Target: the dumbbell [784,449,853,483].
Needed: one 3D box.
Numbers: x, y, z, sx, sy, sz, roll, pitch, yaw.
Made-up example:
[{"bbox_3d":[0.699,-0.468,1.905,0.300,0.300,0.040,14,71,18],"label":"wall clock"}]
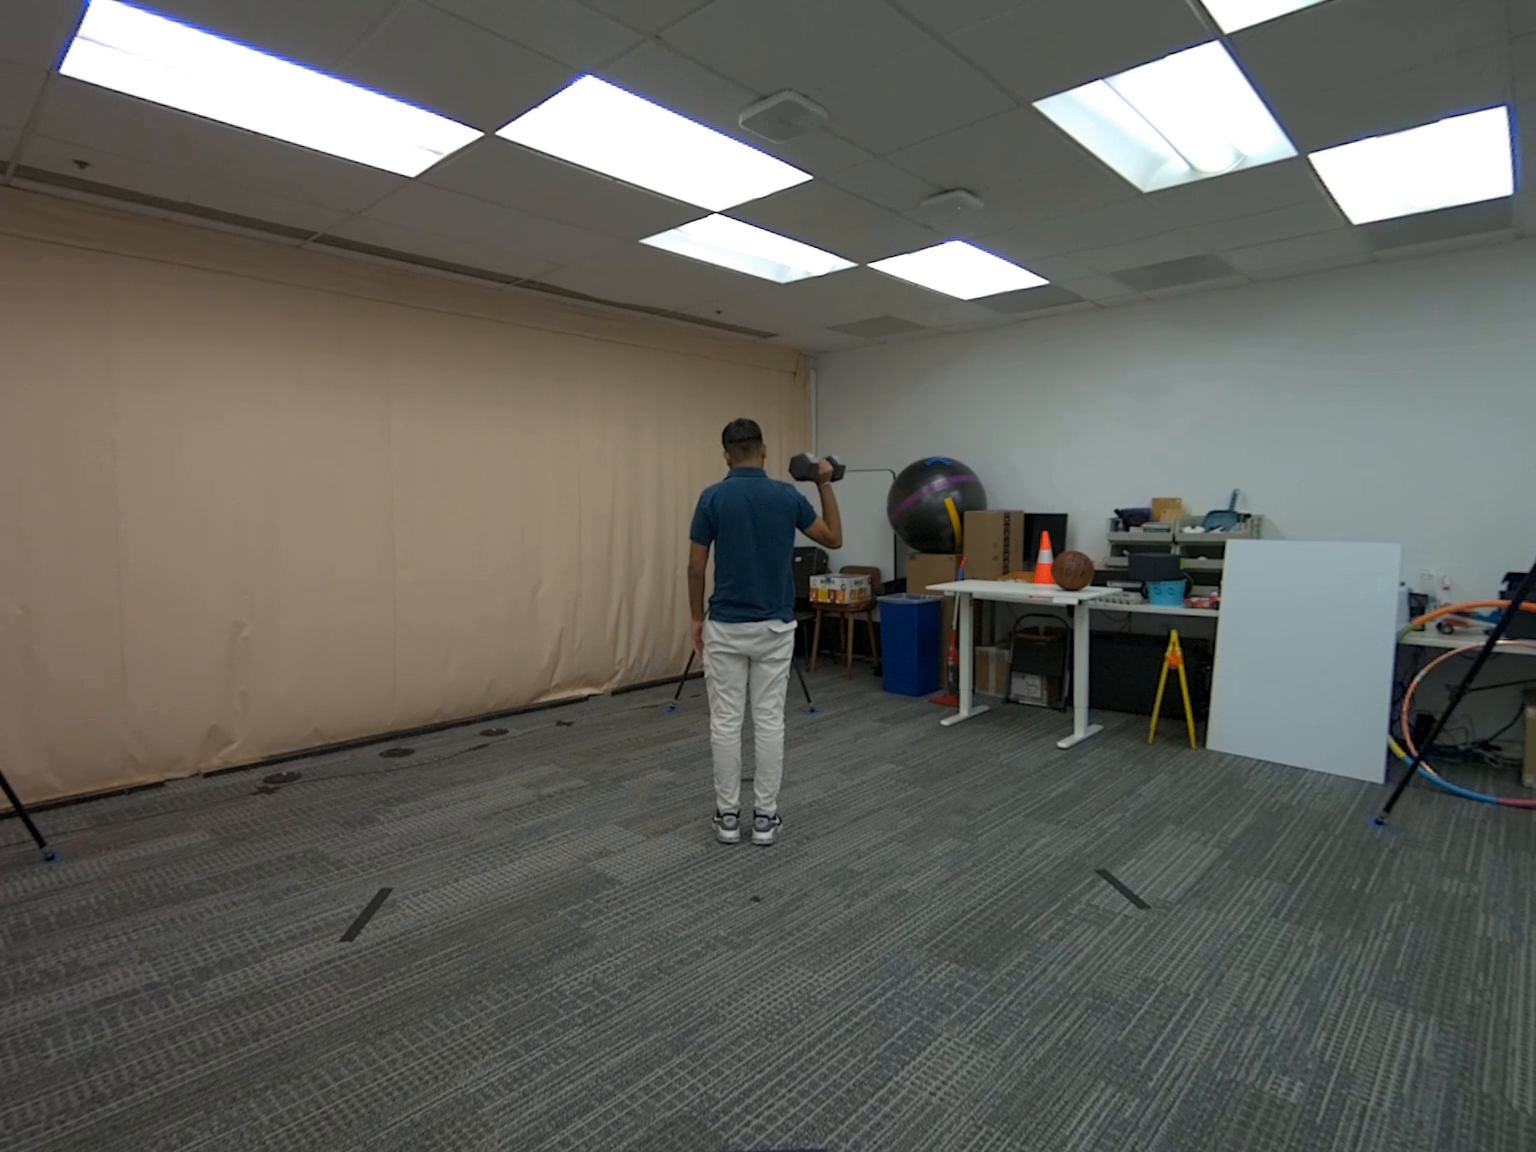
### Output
[{"bbox_3d":[0.213,-0.464,3.569,0.126,0.109,0.285,-11,-3,39],"label":"dumbbell"}]
